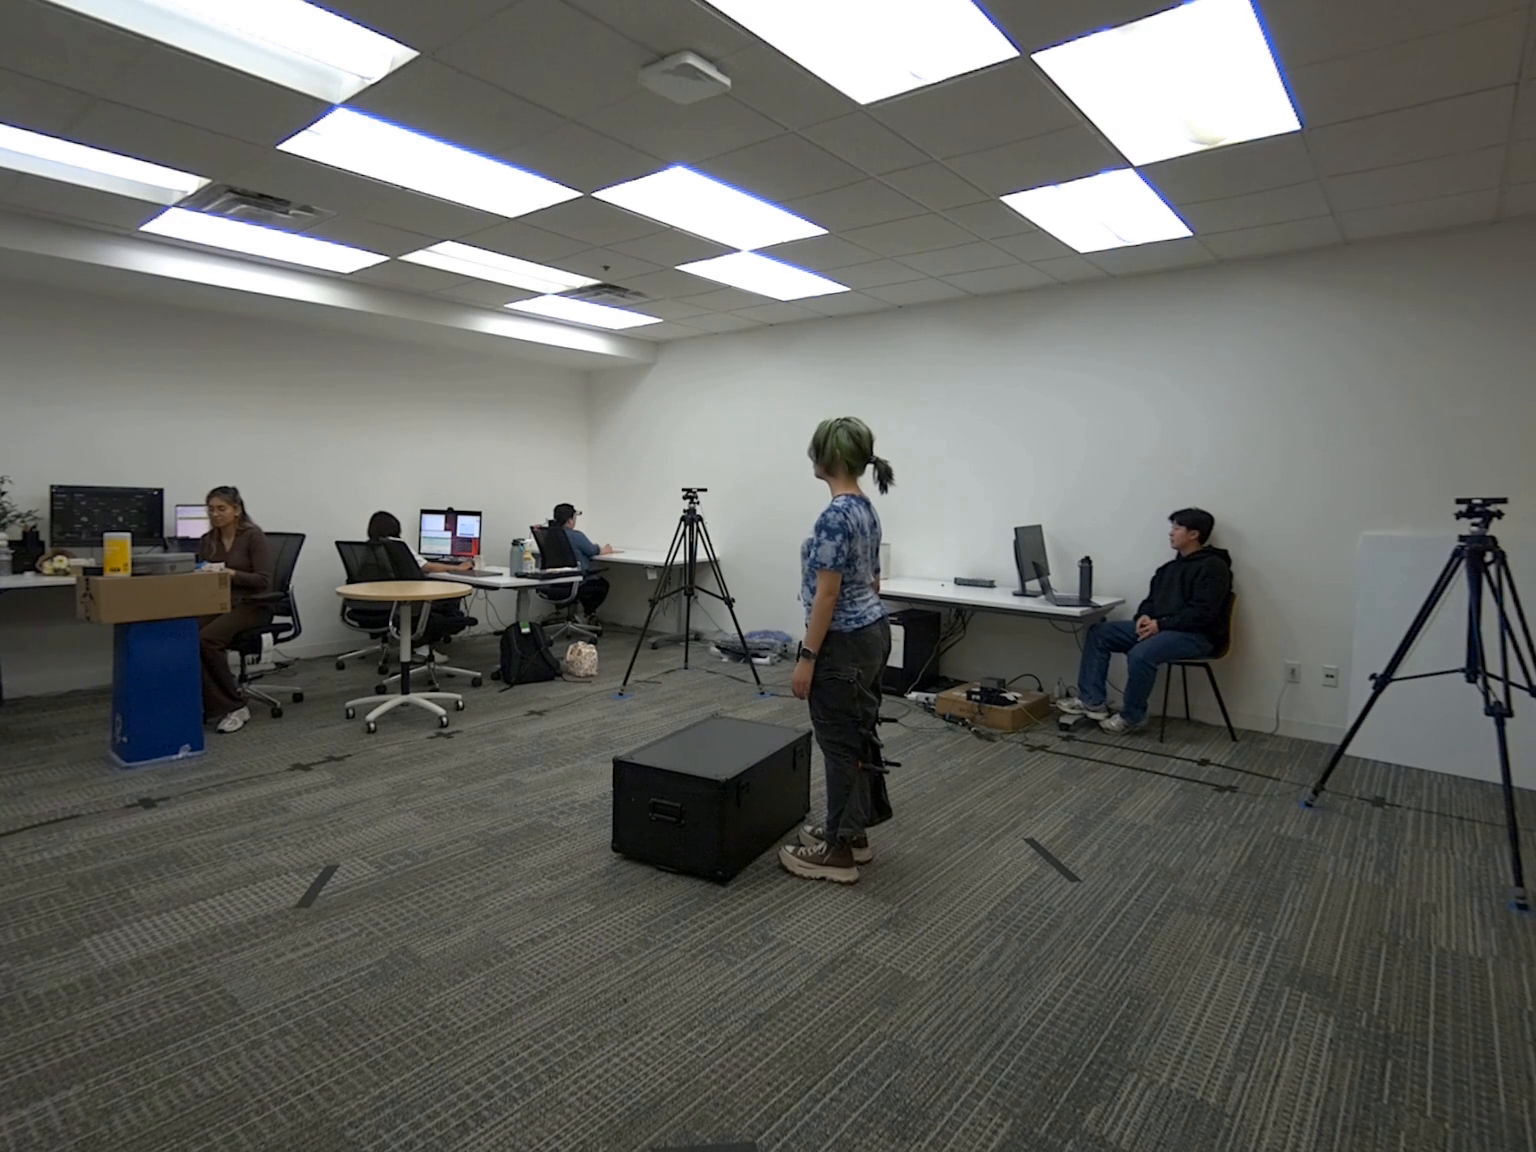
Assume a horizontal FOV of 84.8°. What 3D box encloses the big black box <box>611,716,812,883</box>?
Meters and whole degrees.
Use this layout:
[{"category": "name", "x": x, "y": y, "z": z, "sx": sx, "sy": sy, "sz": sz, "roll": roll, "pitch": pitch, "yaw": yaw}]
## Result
[{"category": "big black box", "x": -0.194, "y": 0.848, "z": 3.433, "sx": 0.536, "sy": 0.394, "sz": 0.842, "roll": 3, "pitch": 6, "yaw": 26}]
